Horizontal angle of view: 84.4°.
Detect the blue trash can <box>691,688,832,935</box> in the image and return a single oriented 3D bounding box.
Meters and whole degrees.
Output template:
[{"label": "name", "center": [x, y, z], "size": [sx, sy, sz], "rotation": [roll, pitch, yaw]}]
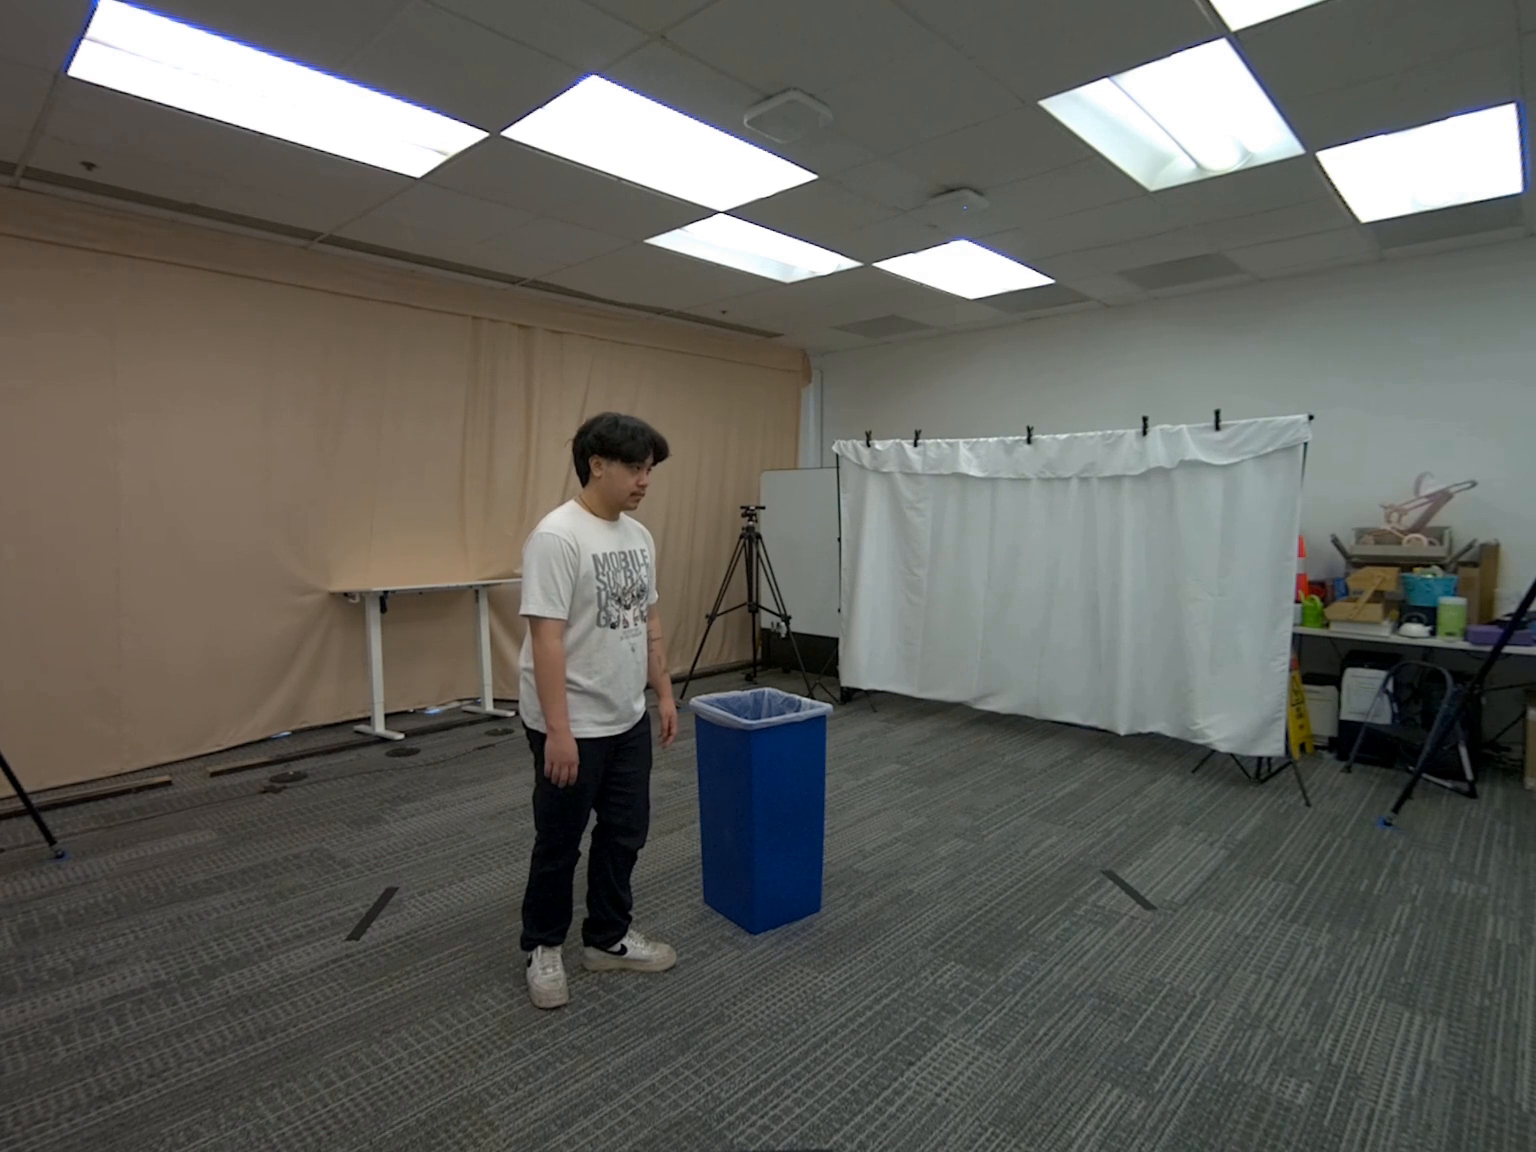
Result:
[{"label": "blue trash can", "center": [-0.025, 0.793, 2.907], "size": [0.363, 0.712, 0.390], "rotation": [-2, 4, -37]}]
